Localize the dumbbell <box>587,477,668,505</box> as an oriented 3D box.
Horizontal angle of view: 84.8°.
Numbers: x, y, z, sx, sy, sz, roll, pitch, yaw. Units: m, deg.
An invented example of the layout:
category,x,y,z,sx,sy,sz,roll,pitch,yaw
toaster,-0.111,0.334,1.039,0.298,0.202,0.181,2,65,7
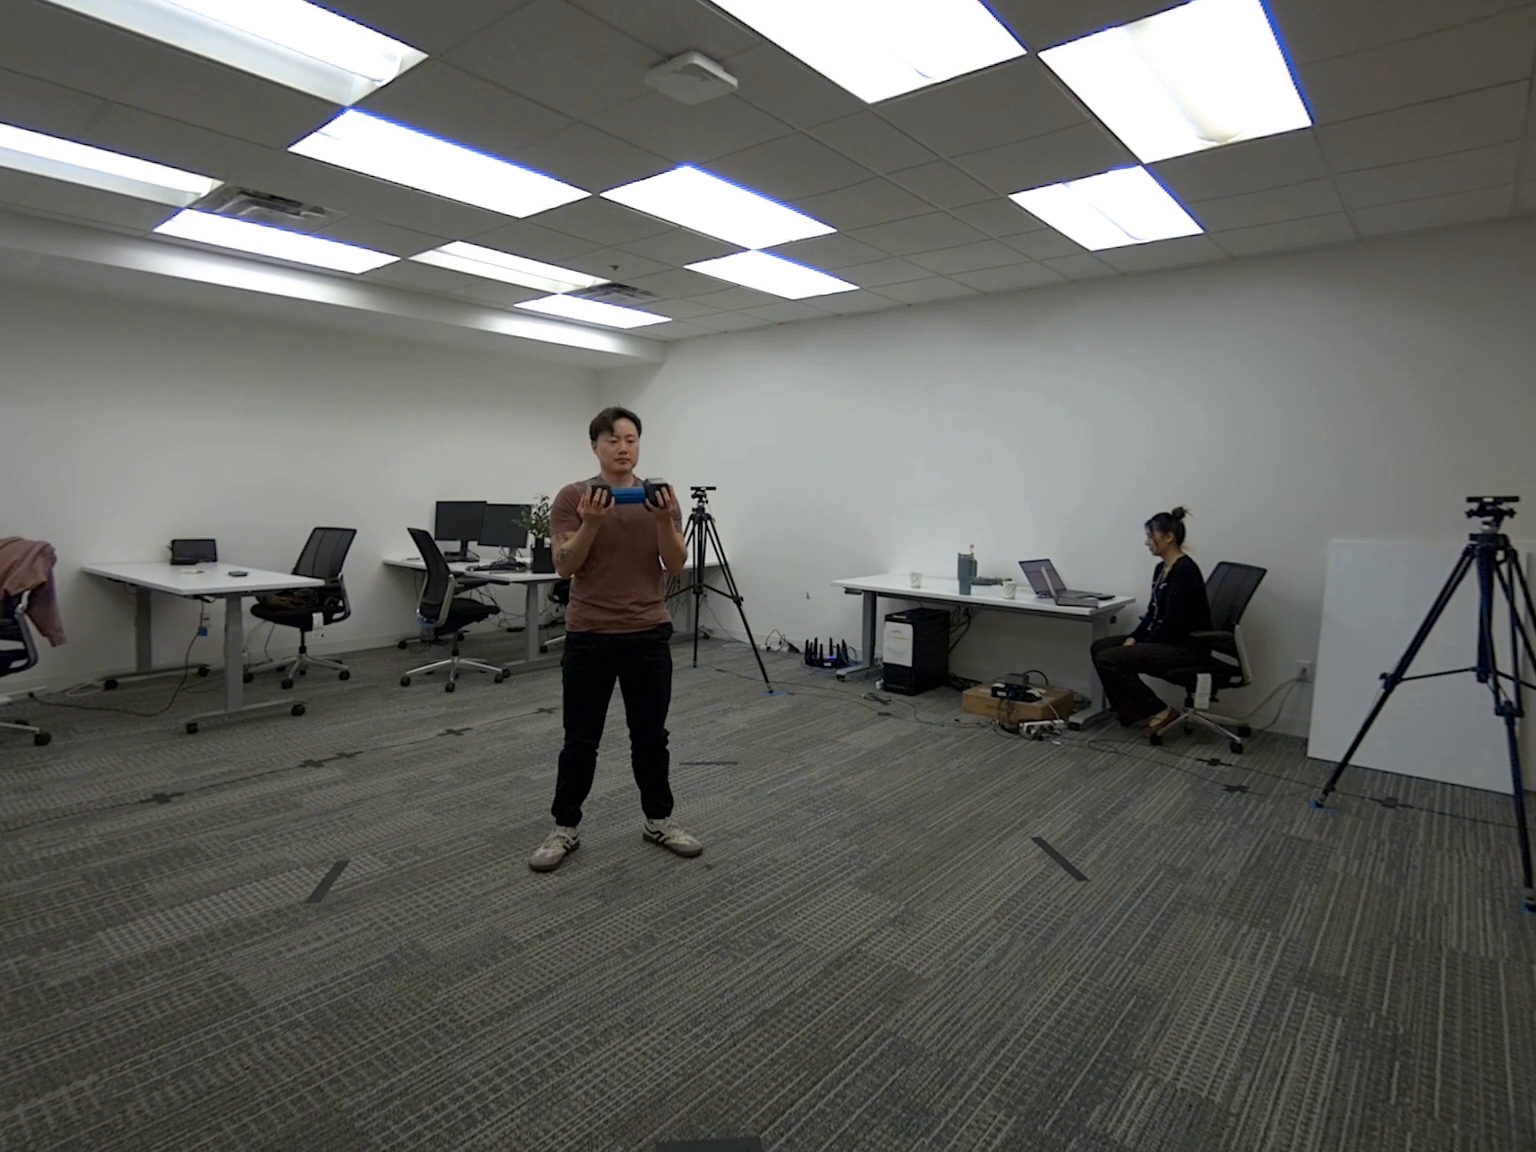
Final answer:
category,x,y,z,sx,sy,sz,roll,pitch,yaw
dumbbell,-0.513,-0.288,3.016,0.290,0.112,0.121,-3,-32,-13
